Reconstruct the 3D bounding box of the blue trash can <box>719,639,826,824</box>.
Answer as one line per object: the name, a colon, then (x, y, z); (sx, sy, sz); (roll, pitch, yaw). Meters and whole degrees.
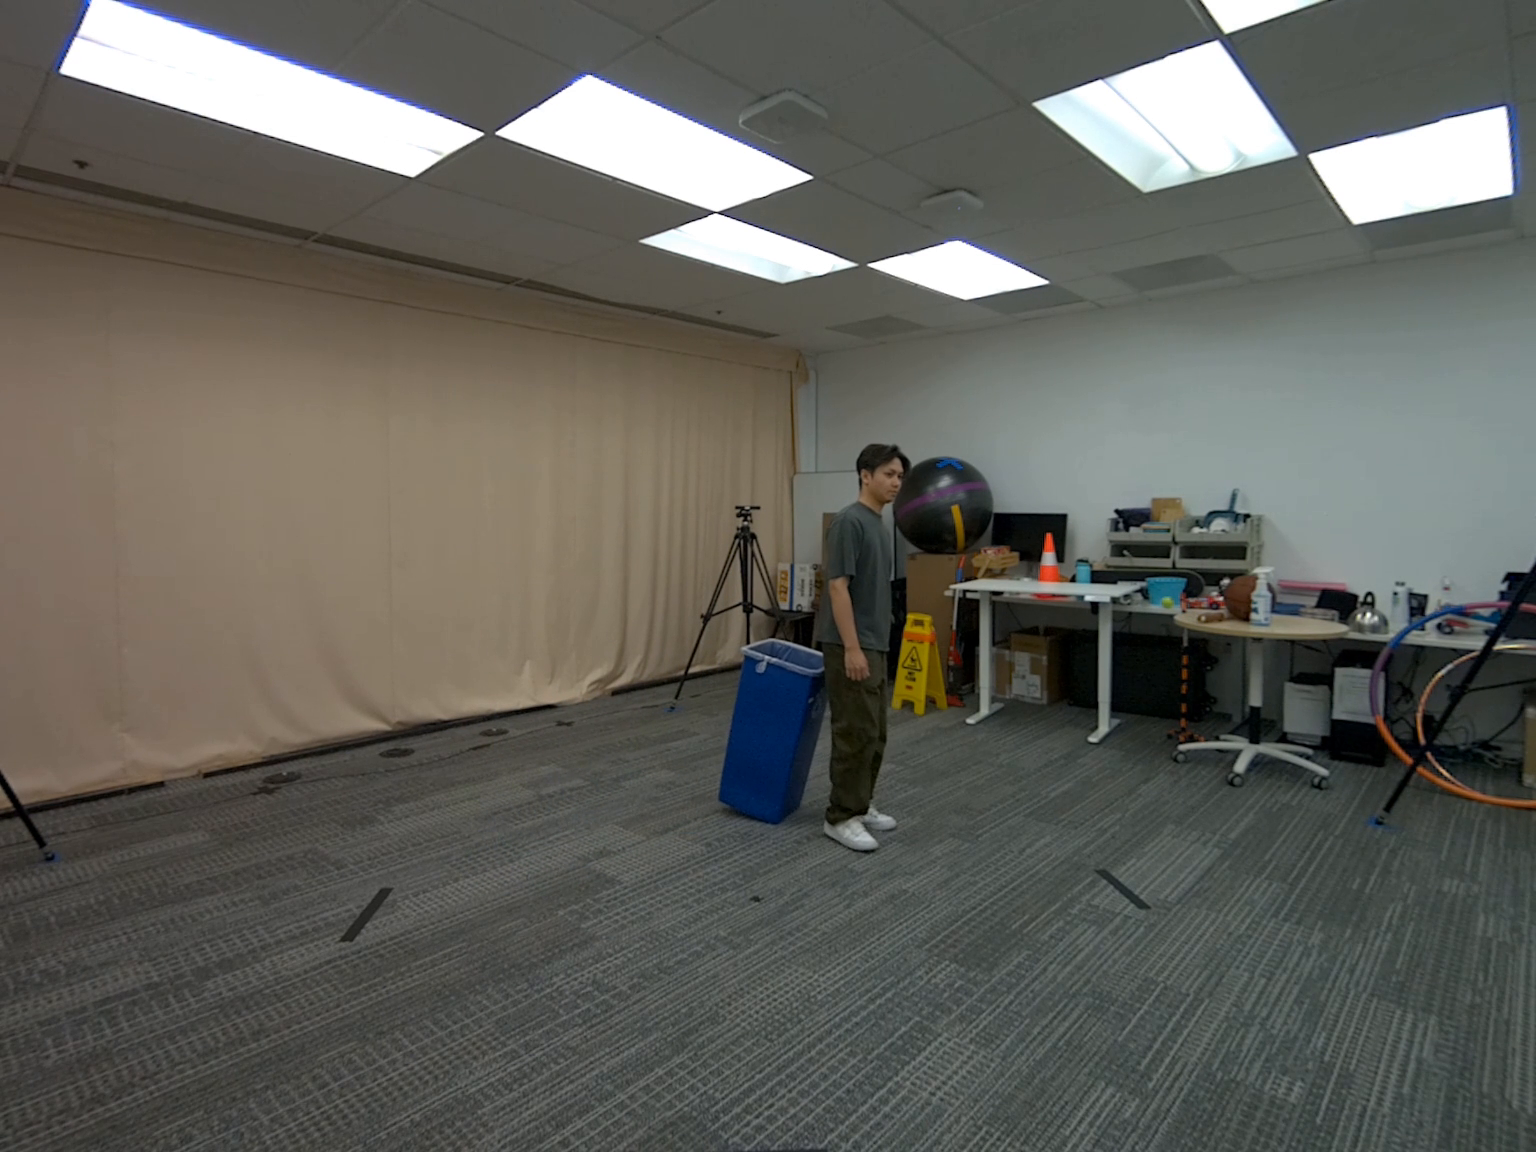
blue trash can: (0.041, 0.694, 3.825); (0.388, 0.711, 0.365); (16, 9, 23)
